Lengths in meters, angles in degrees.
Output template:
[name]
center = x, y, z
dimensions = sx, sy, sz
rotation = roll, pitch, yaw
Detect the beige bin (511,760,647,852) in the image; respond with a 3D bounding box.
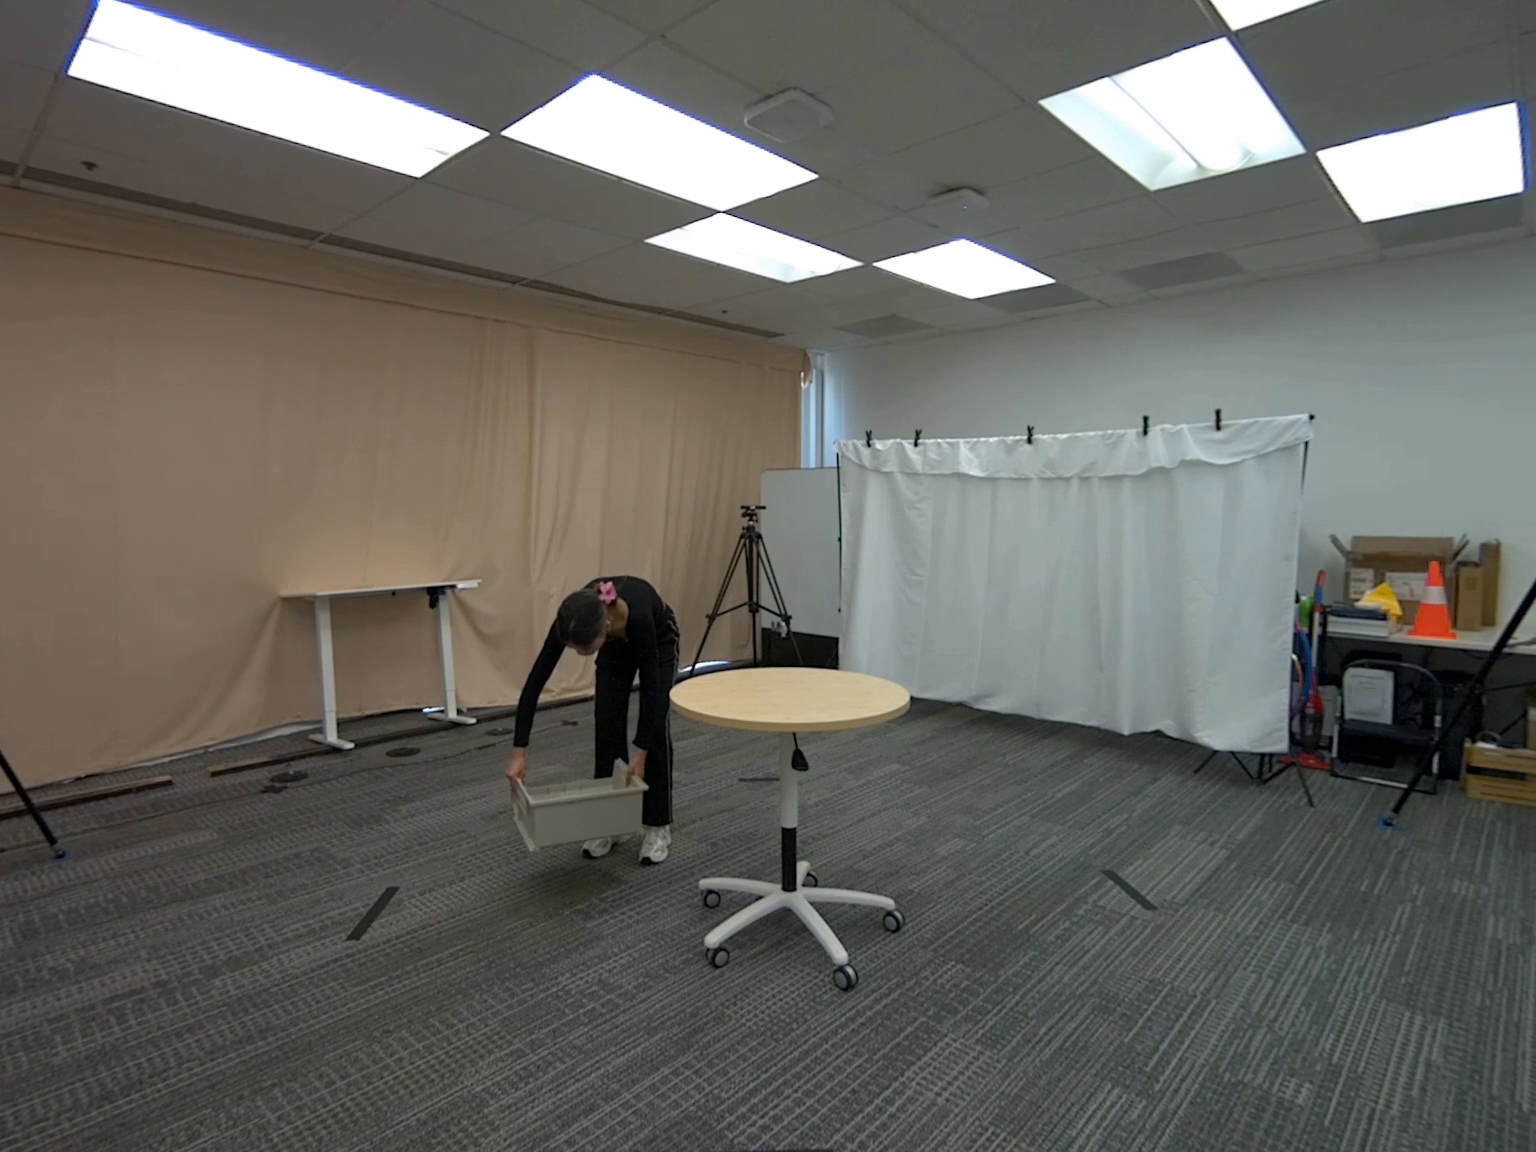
[beige bin]
center = -0.711, 0.829, 3.089
dimensions = 0.412, 0.188, 0.388
rotation = 0, 7, -26
